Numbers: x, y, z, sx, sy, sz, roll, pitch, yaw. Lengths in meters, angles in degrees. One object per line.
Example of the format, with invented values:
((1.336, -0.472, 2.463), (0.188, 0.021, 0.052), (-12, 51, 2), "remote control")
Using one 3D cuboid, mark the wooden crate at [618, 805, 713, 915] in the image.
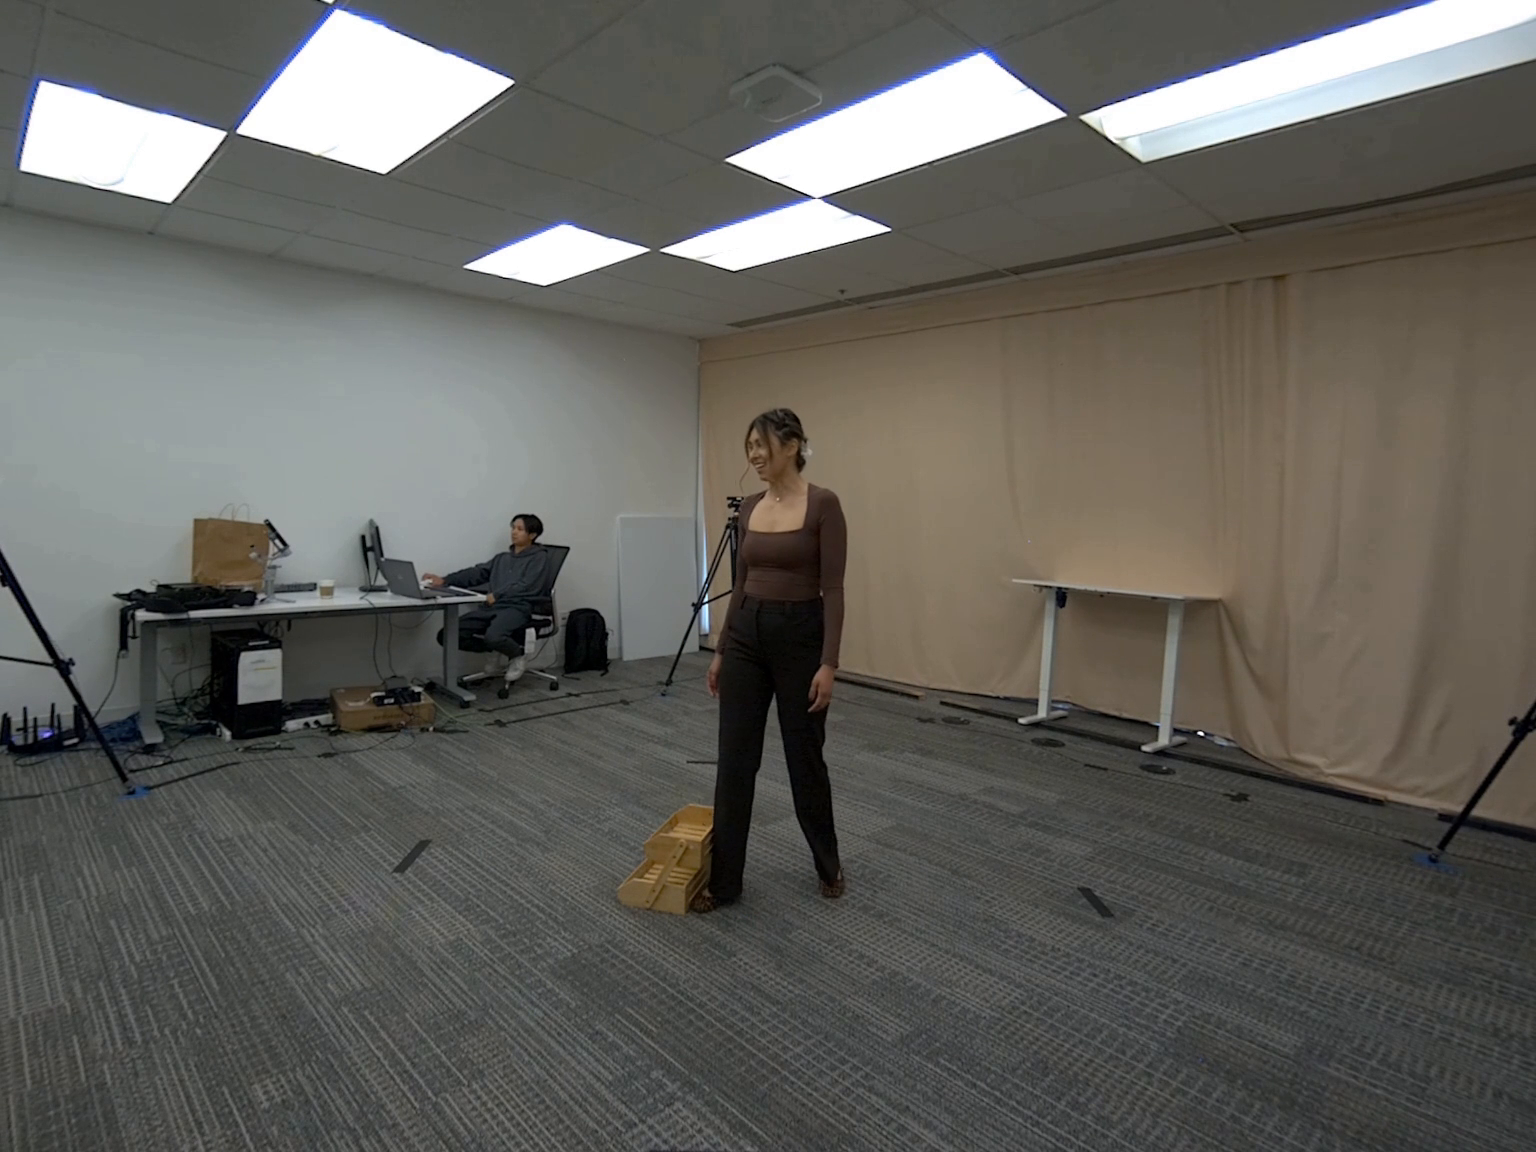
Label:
((-0.340, 0.975, 2.969), (0.306, 0.272, 0.321), (3, 5, 15), "wooden crate")
